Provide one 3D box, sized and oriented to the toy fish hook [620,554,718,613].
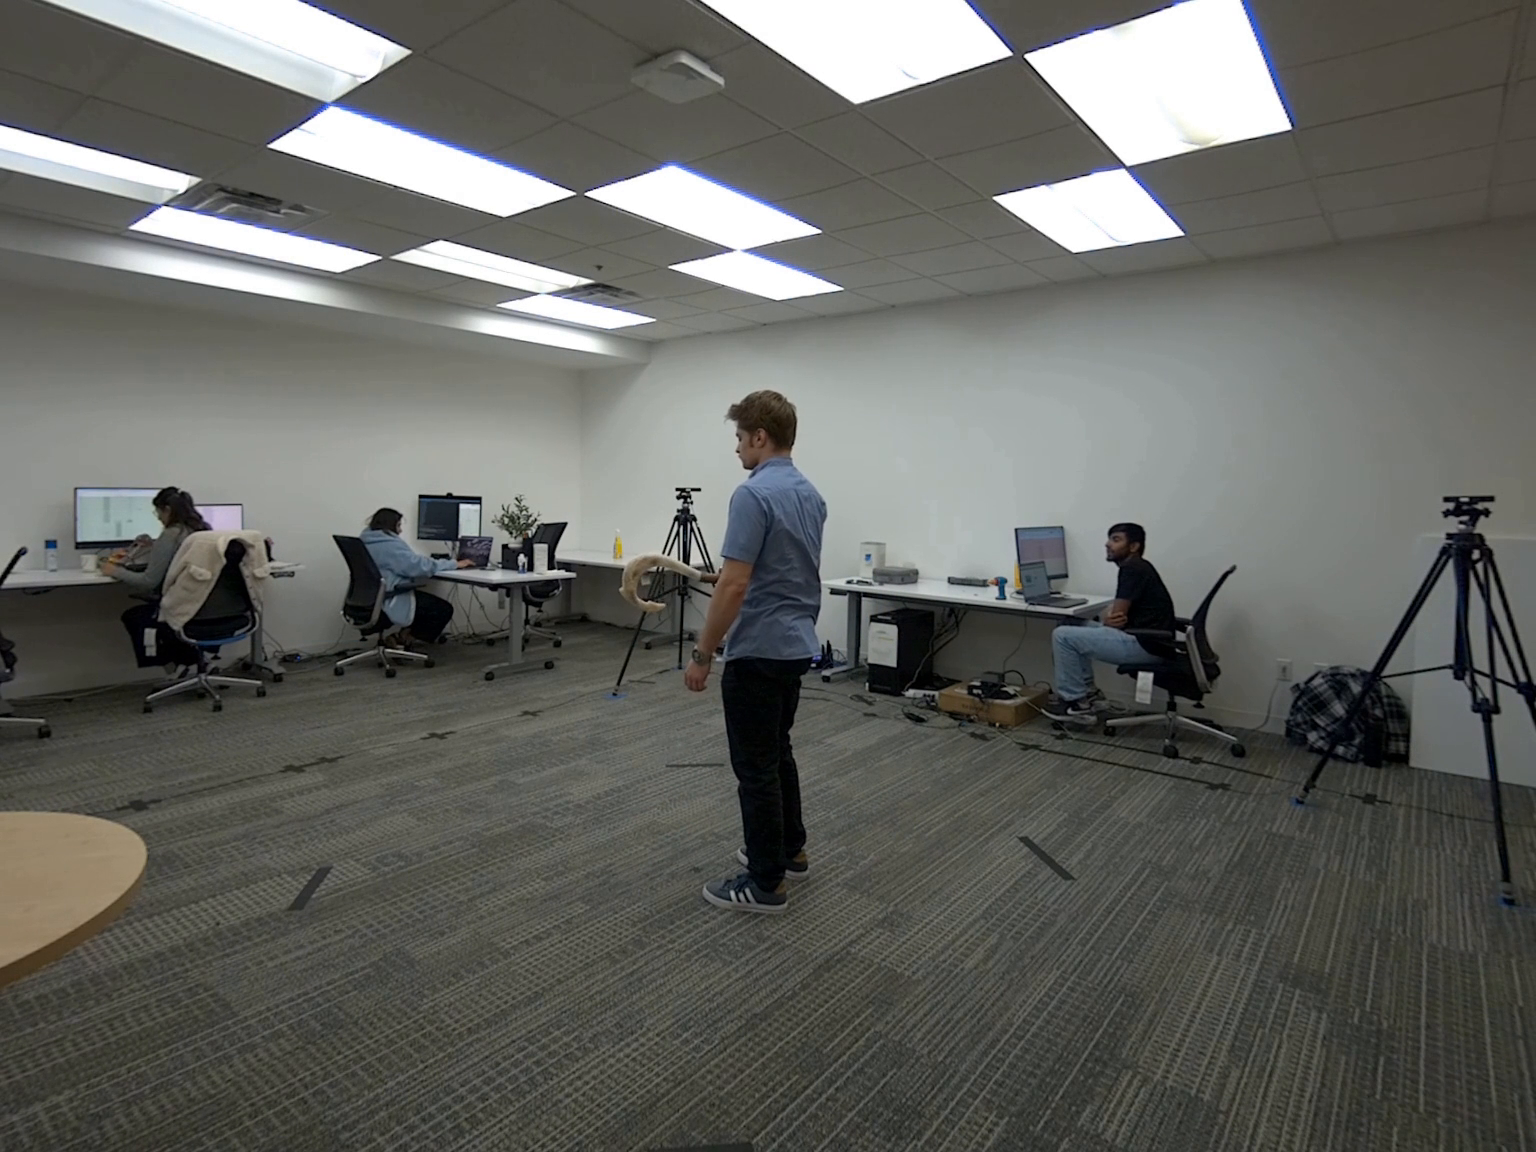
[{"bbox_3d":[-0.326,0.041,3.208,0.494,0.223,0.050,7,14,-23],"label":"toy fish hook"}]
